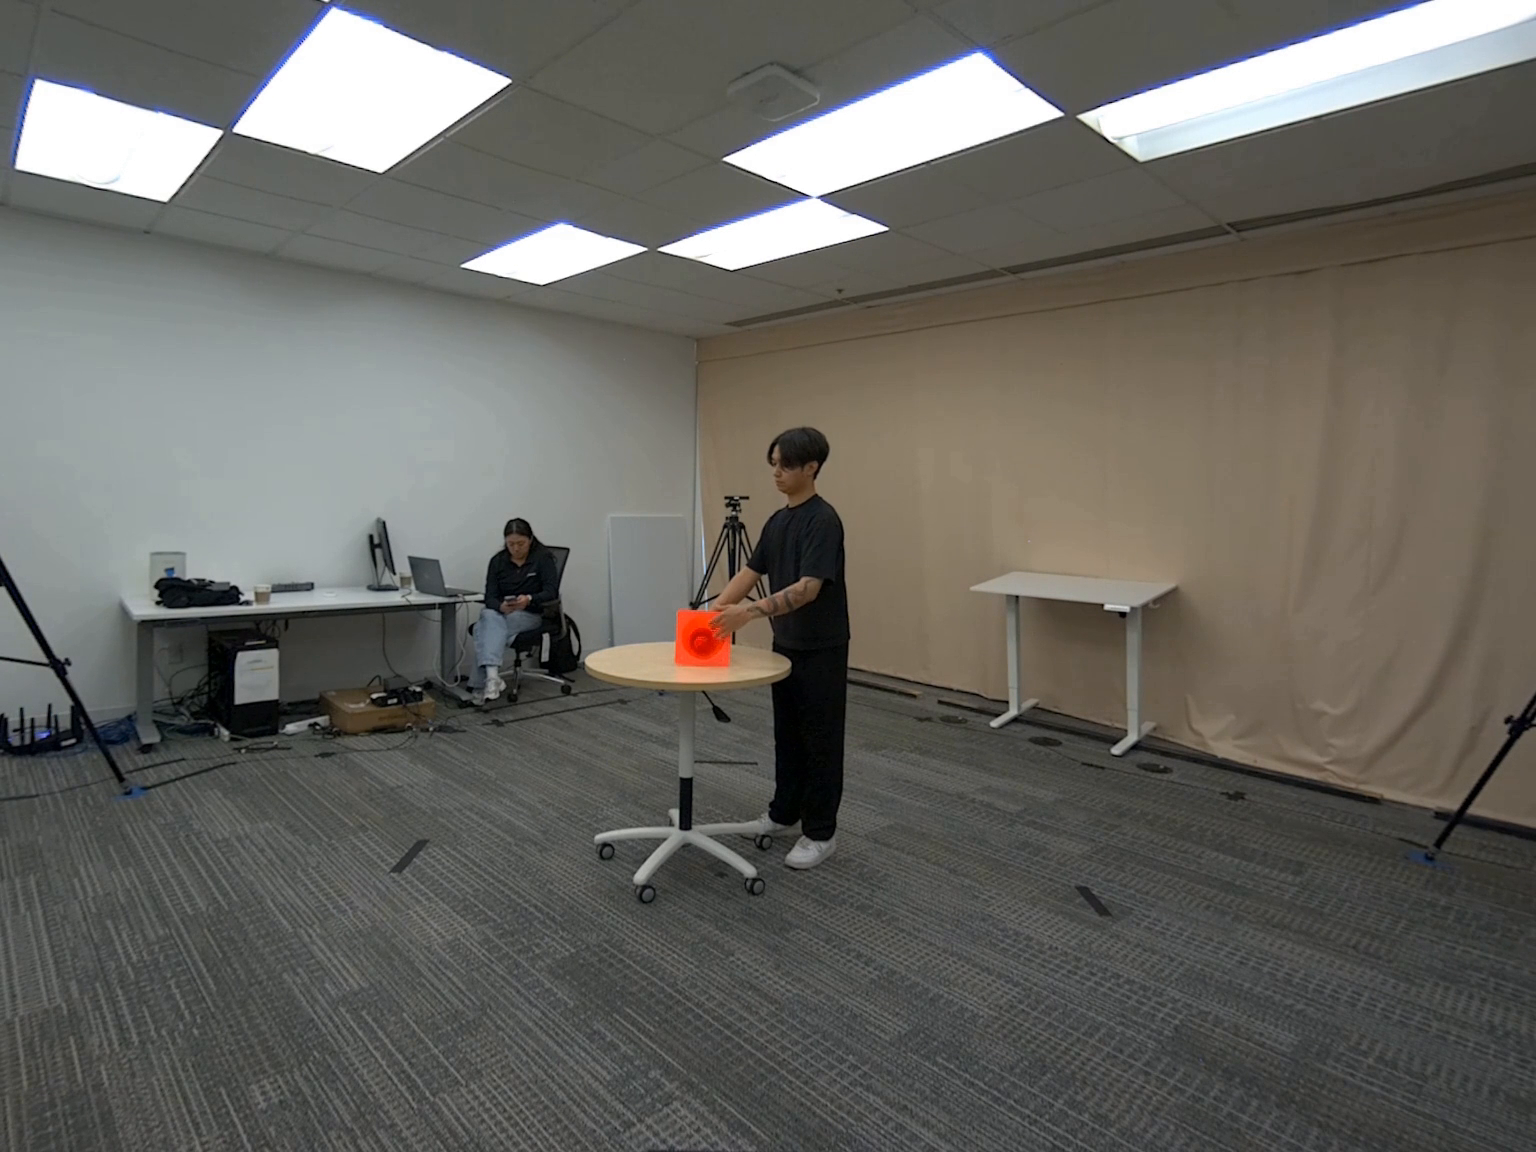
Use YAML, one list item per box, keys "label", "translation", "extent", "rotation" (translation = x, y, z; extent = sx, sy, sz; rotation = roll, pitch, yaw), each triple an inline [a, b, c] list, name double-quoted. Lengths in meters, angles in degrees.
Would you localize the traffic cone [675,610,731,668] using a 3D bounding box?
- label: "traffic cone"
  translation: [-0.262, 0.251, 3.225]
  extent: [0.202, 0.206, 0.383]
  rotation: [3, -8, -6]
